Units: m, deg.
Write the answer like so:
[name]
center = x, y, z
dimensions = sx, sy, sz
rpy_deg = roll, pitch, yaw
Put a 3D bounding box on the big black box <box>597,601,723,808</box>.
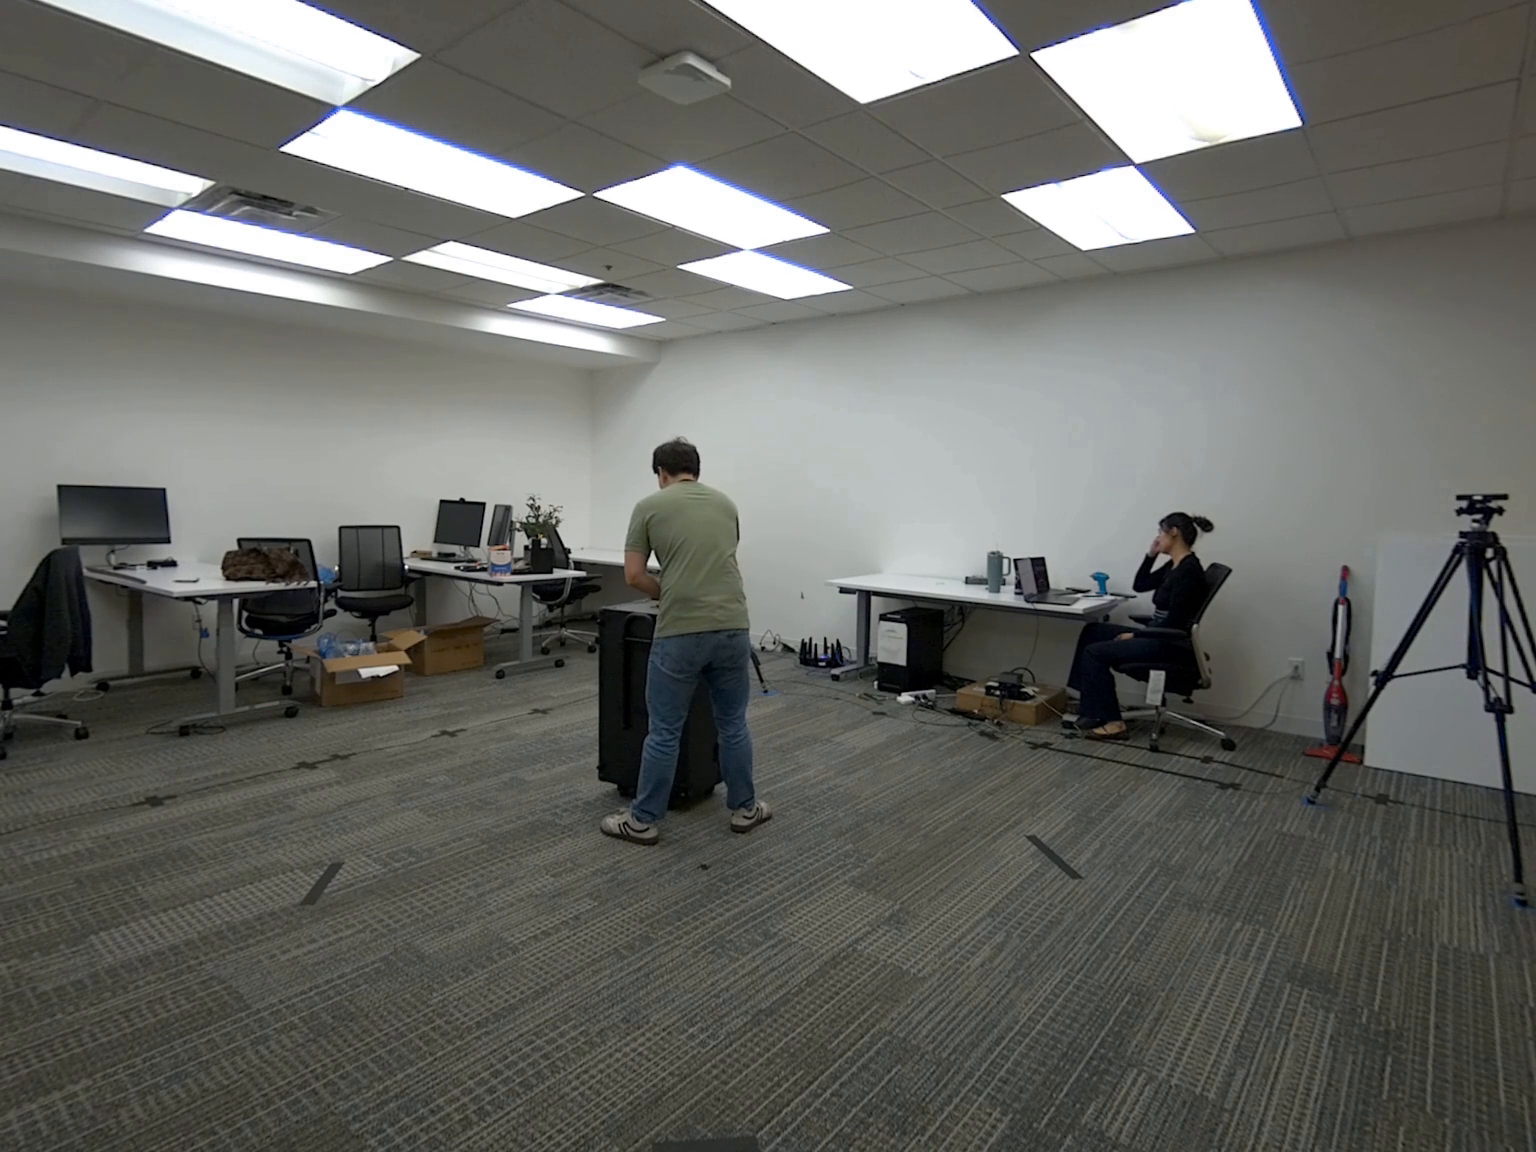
[big black box]
center = -0.482, 0.572, 3.826
dimensions = 0.537, 0.858, 0.386
rpy_deg = 4, 5, 32
